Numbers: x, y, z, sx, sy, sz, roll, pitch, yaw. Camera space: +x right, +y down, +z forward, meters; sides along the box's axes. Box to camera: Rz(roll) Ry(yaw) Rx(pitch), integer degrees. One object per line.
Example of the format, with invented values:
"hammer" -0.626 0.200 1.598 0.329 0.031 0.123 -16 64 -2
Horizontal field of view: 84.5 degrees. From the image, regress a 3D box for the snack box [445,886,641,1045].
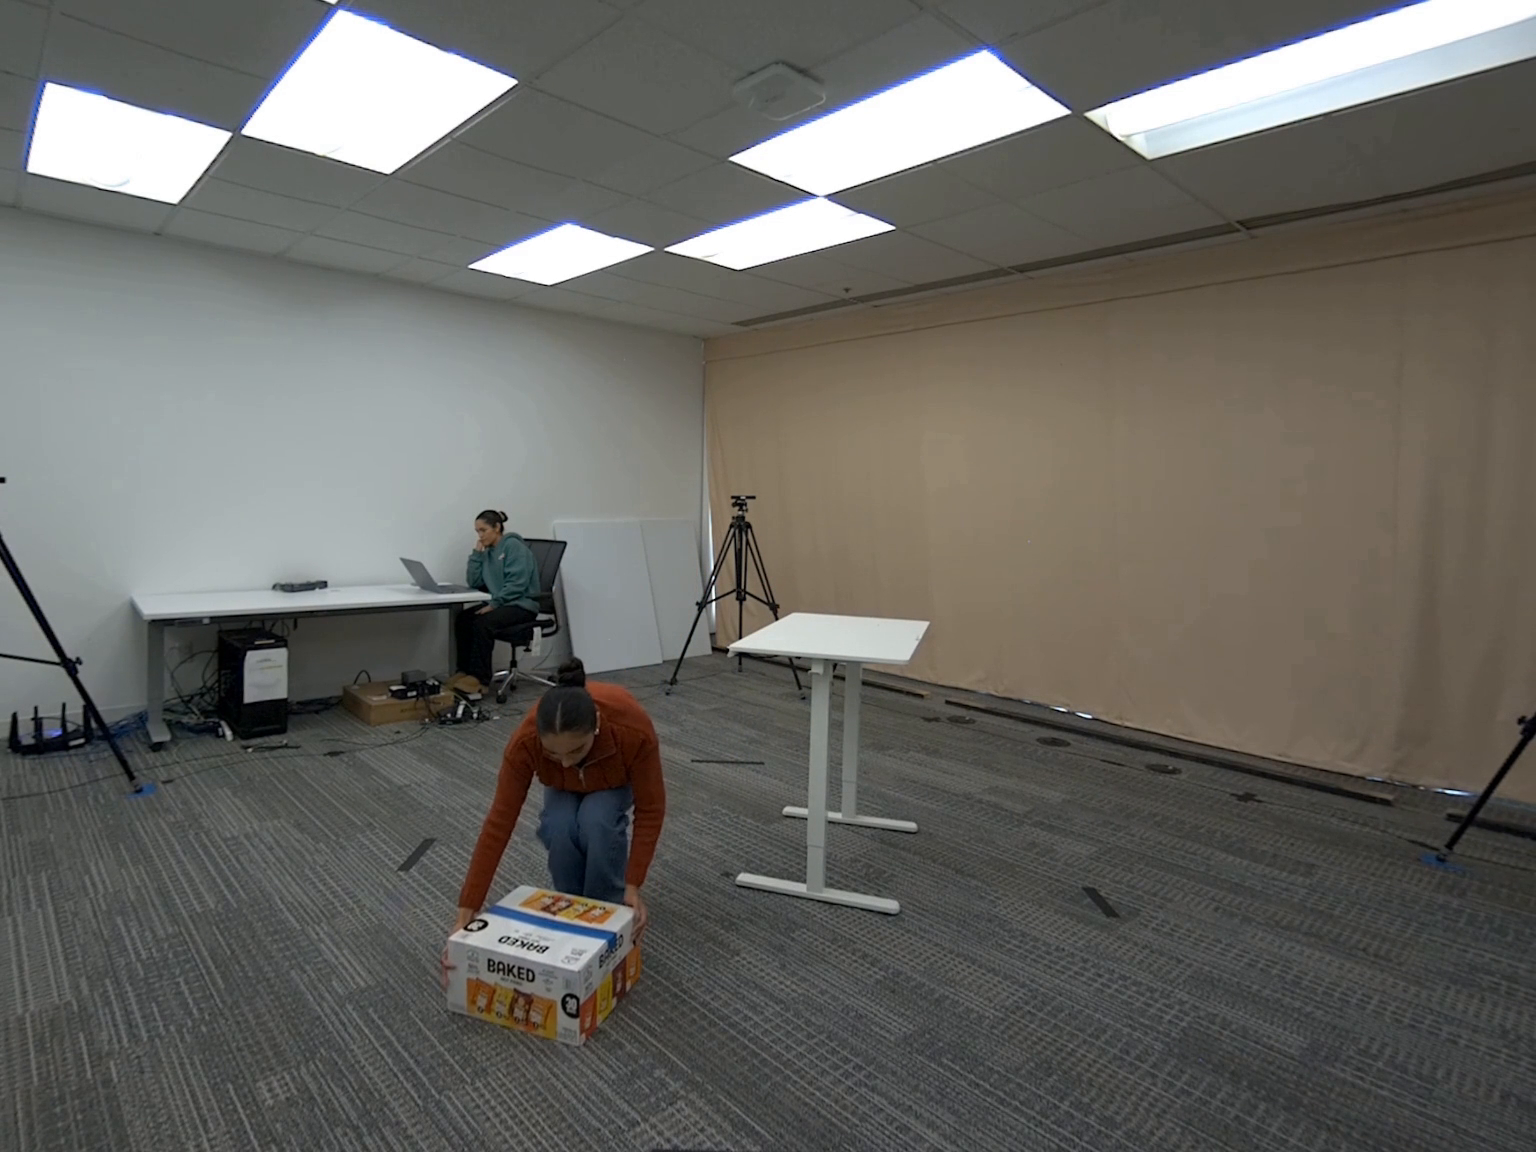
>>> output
"snack box" -0.617 1.055 2.328 0.411 0.205 0.336 3 5 19
